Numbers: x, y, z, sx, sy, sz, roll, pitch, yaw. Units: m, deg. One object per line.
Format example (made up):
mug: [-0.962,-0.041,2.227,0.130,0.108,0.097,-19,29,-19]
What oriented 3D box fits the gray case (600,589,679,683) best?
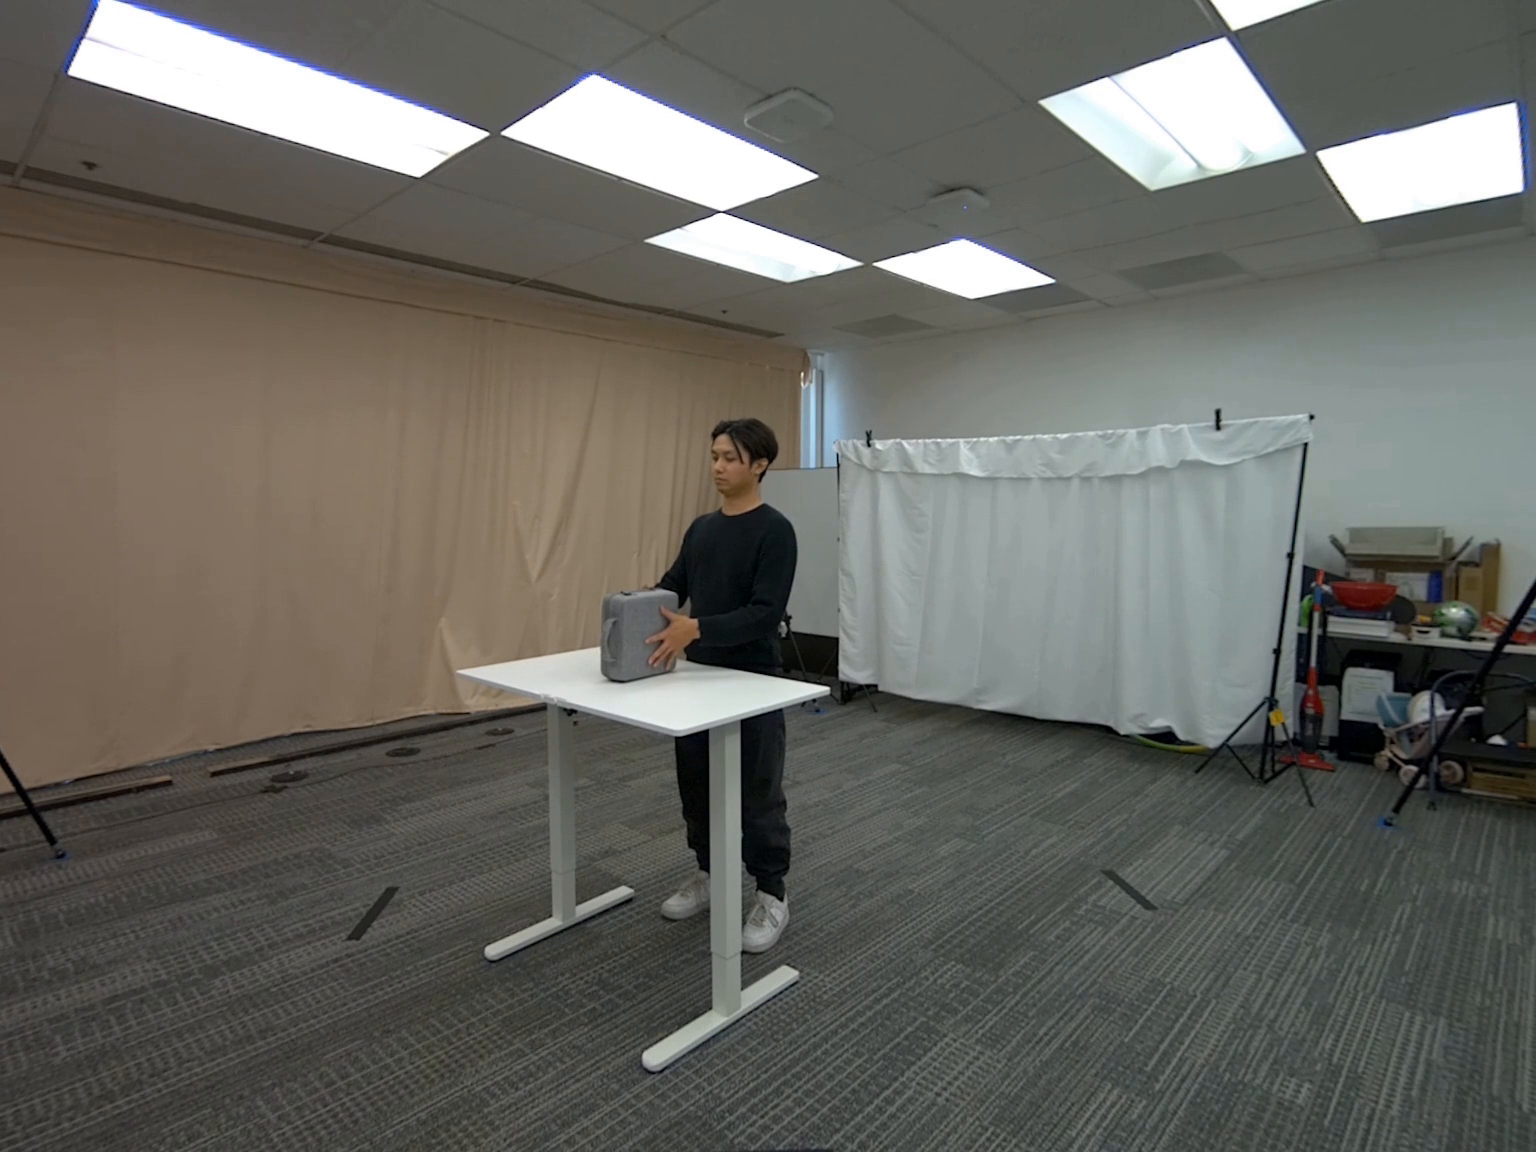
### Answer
gray case: [-0.390,0.173,2.521,0.107,0.256,0.253,6,6,32]
